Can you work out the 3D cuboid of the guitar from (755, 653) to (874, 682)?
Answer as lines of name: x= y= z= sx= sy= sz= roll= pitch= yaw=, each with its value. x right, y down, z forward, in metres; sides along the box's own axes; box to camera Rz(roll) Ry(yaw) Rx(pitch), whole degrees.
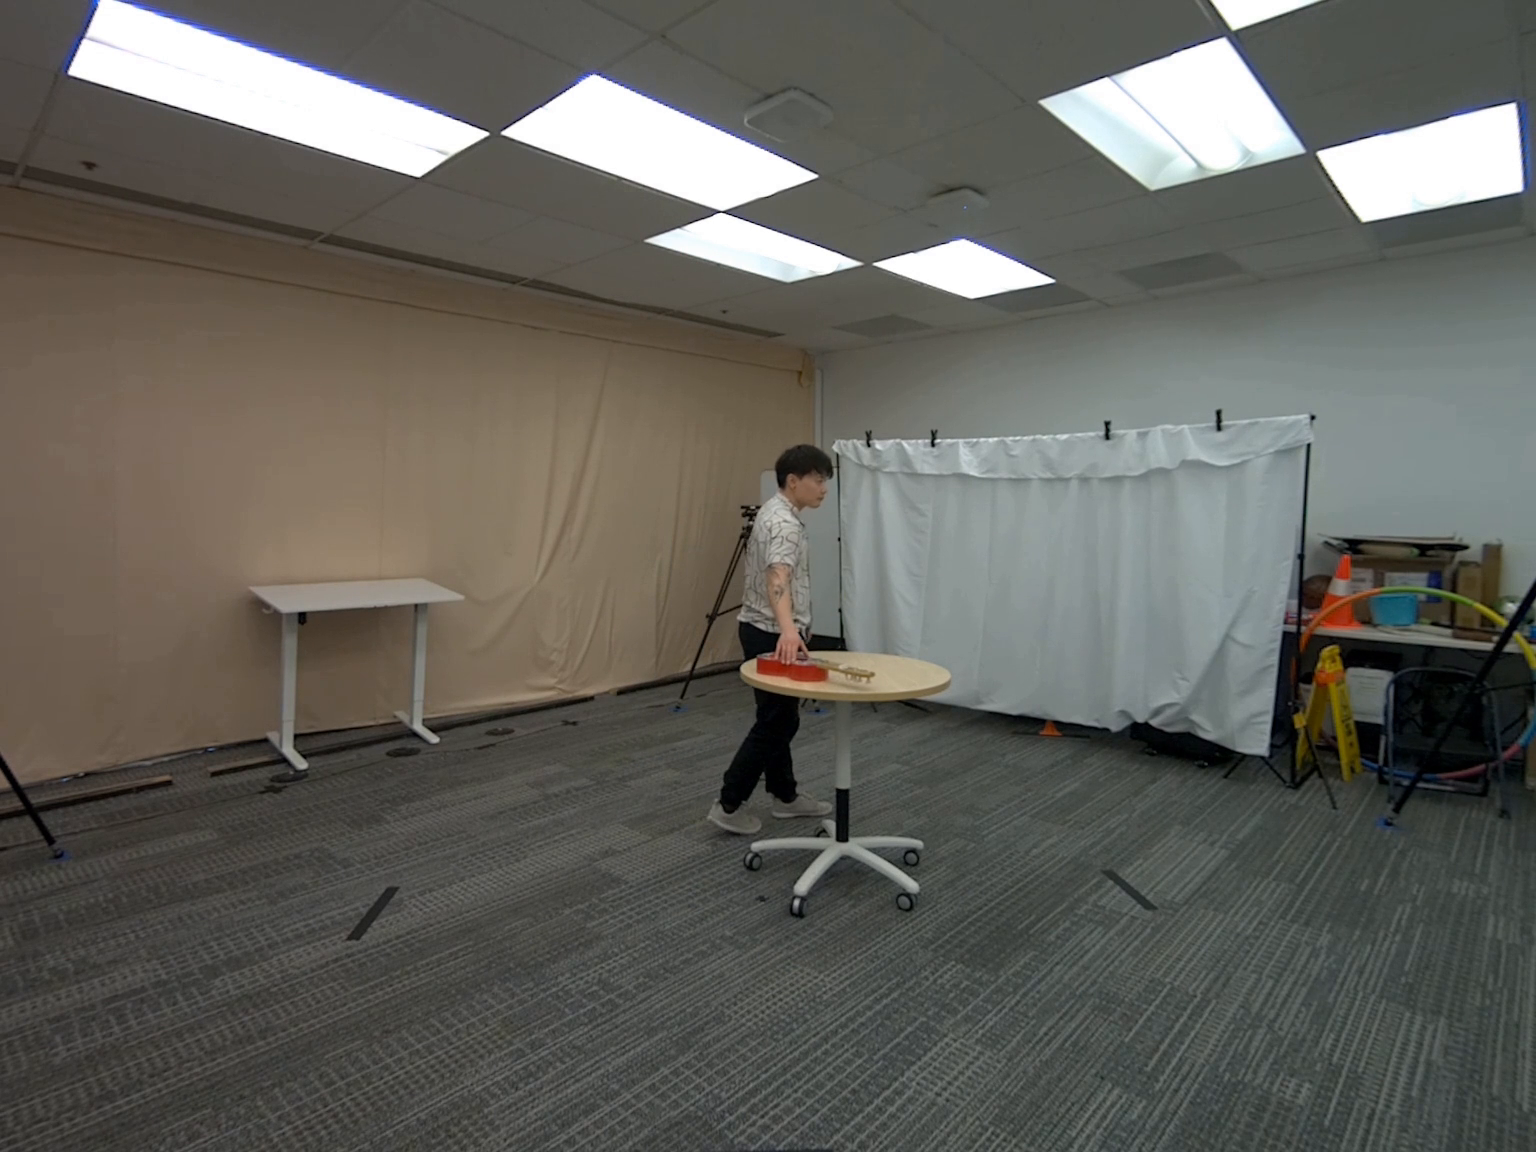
guitar: x=0.150 y=0.334 z=2.932 sx=0.188 sy=0.070 sz=0.513 roll=-3 pitch=6 yaw=-30
